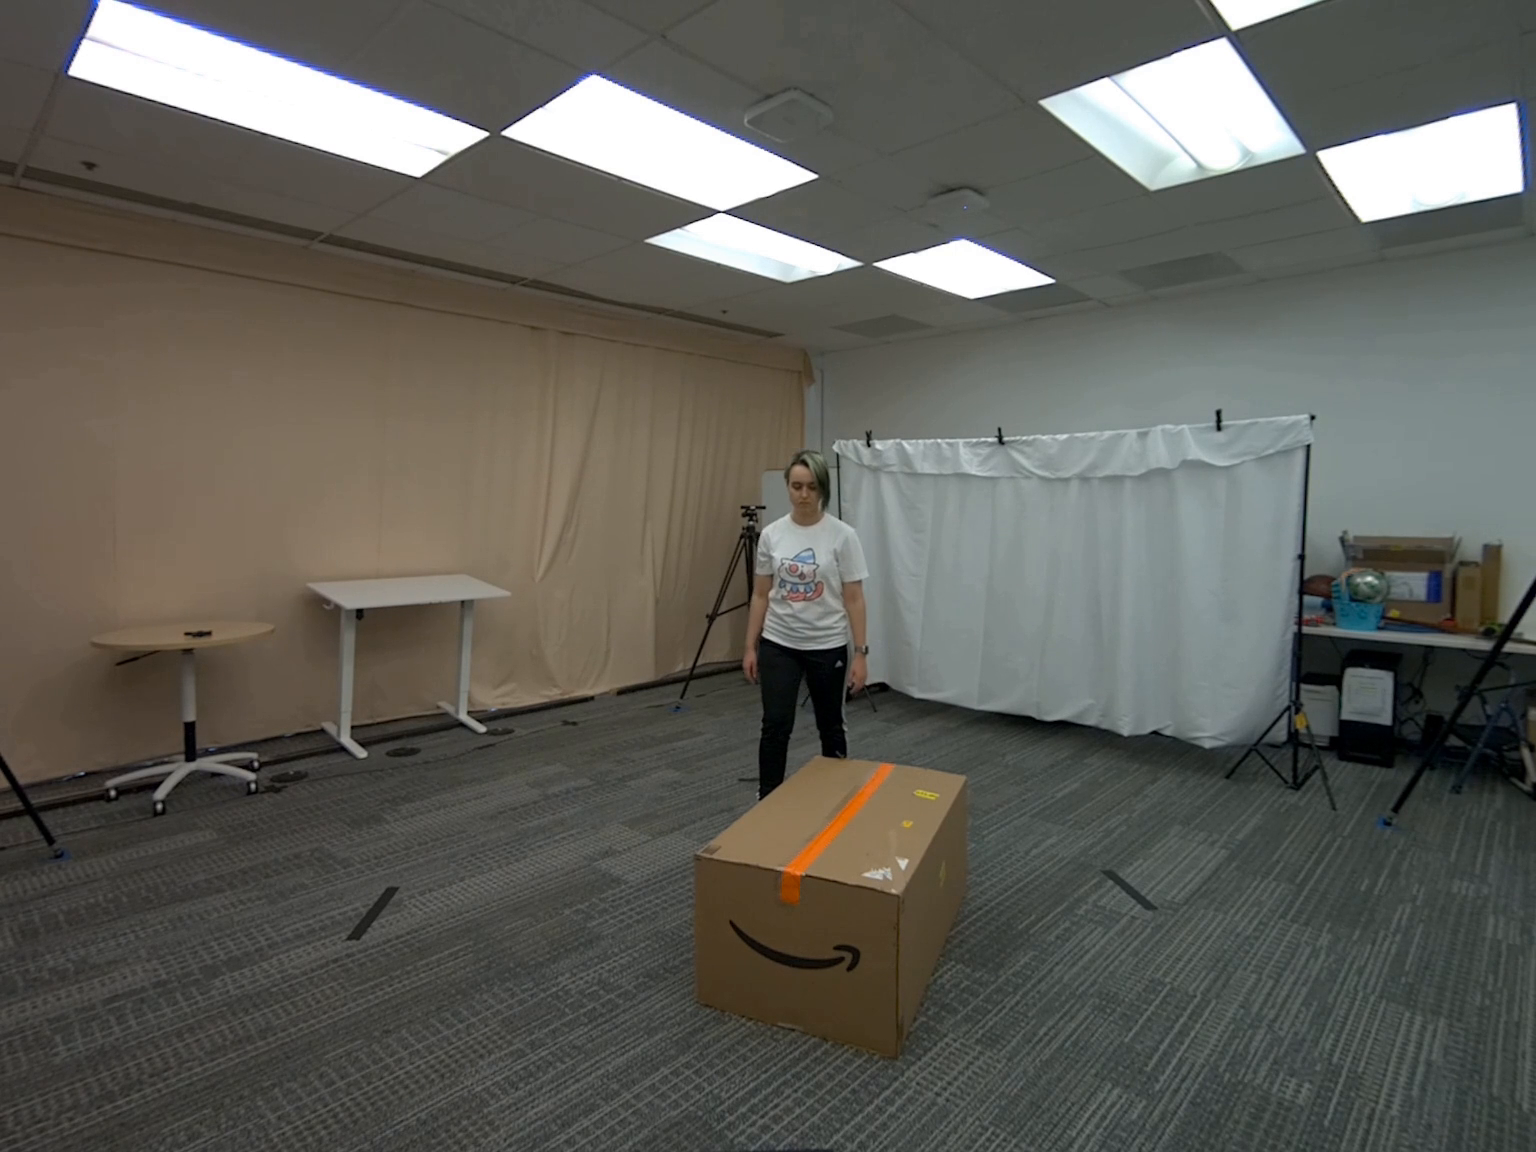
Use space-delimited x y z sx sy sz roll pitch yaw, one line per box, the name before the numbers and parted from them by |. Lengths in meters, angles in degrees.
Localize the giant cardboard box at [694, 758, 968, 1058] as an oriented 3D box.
giant cardboard box | 0.255 0.951 2.683 0.592 0.425 1.003 2 5 23
